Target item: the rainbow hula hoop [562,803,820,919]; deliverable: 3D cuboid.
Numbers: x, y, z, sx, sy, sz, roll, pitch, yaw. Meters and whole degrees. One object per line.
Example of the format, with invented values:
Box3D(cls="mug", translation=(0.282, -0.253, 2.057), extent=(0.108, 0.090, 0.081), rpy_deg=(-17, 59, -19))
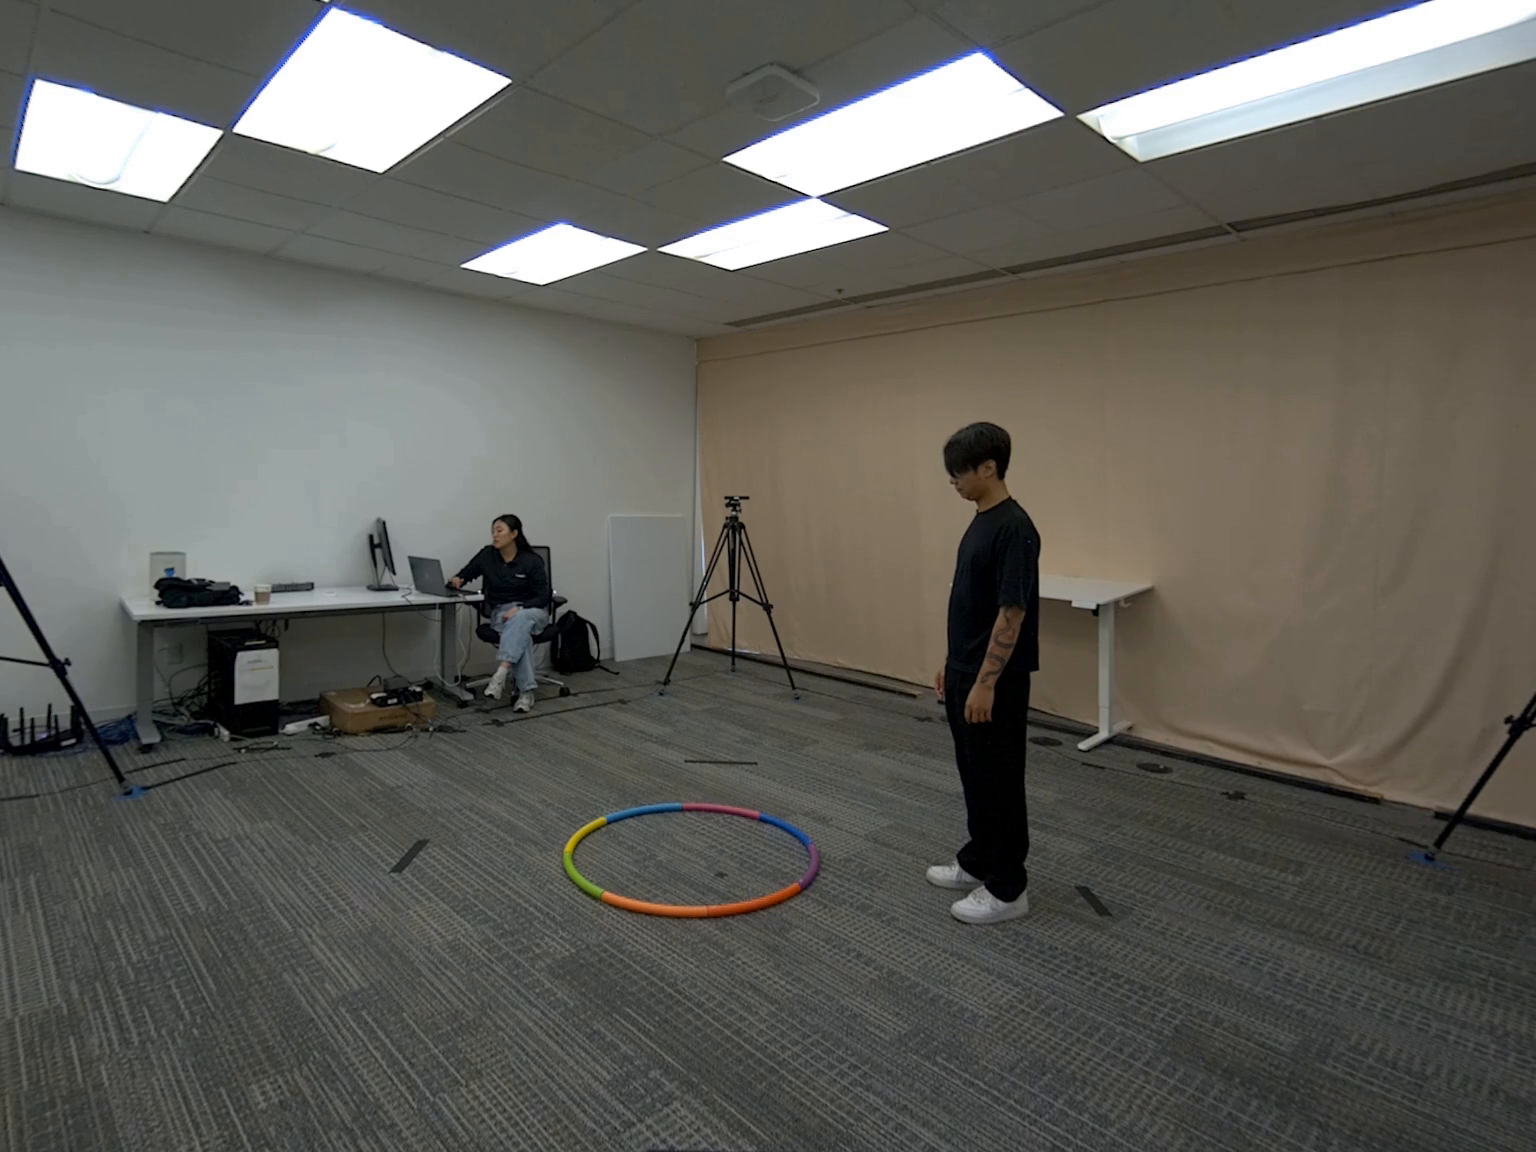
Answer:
Box3D(cls="rainbow hula hoop", translation=(-0.299, 1.055, 3.264), extent=(0.978, 0.035, 0.982), rpy_deg=(1, 5, -1))
